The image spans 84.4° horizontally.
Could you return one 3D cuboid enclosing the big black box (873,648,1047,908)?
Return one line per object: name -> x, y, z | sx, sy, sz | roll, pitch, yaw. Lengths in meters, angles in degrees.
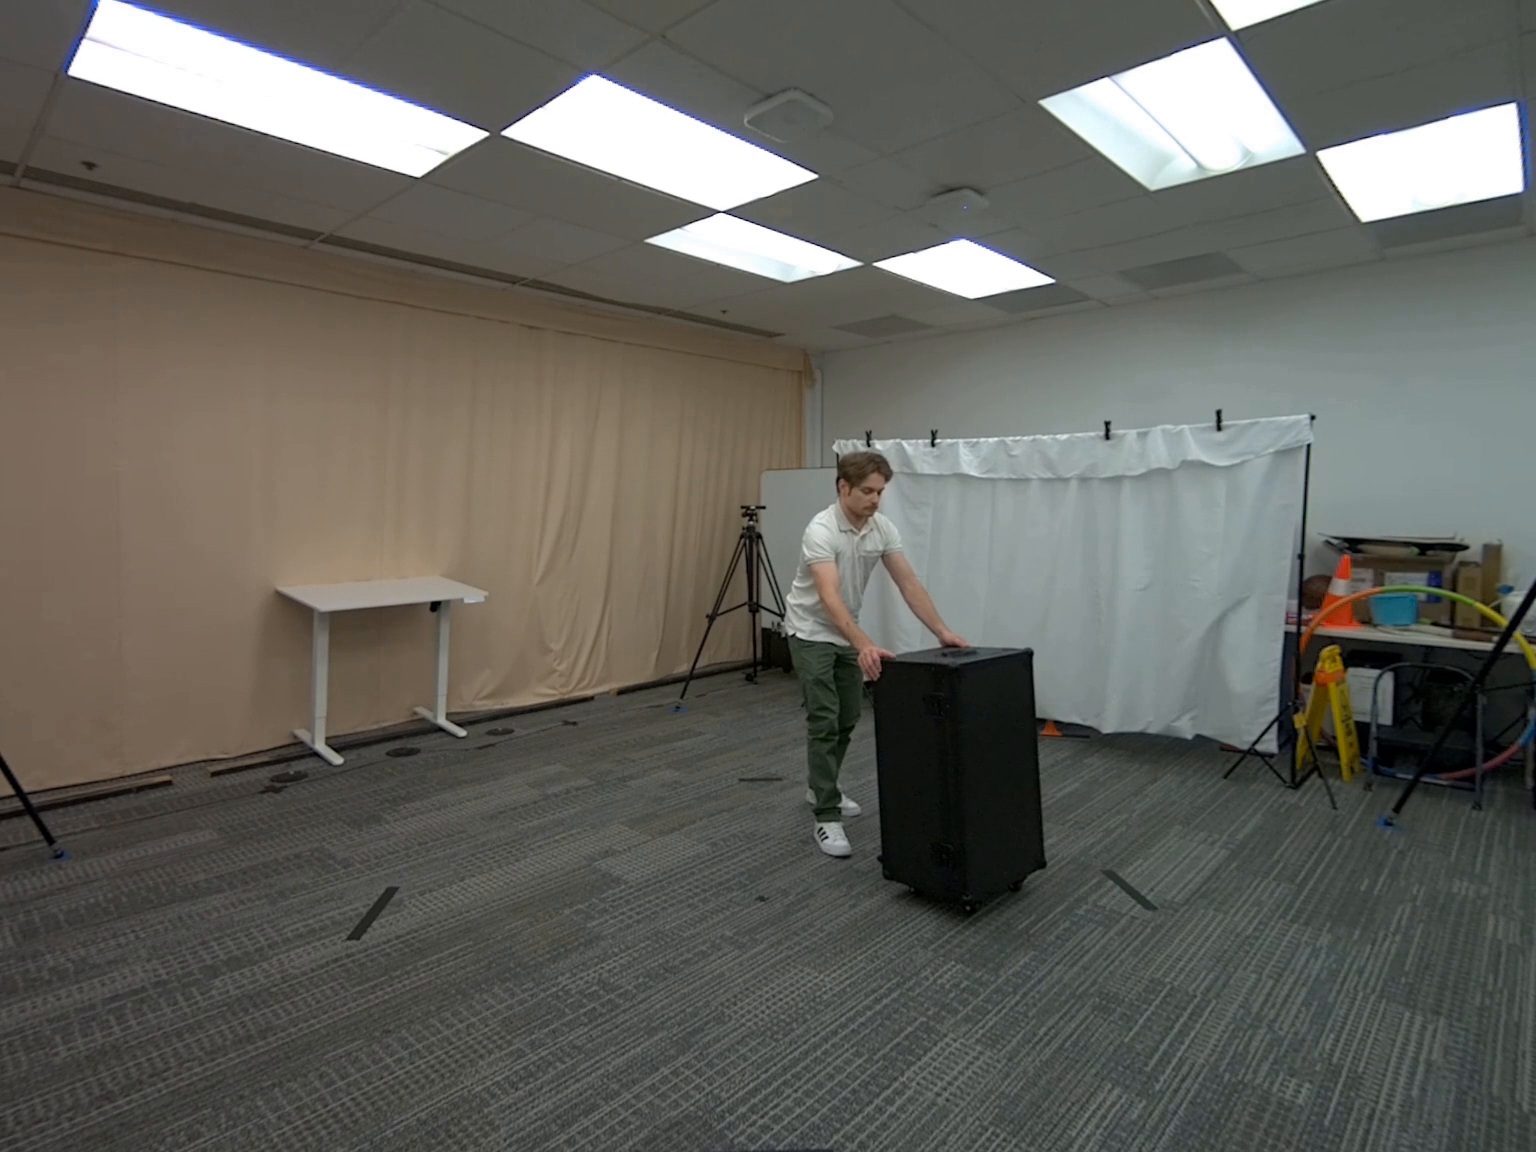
big black box -> 0.687, 0.709, 3.023 | 0.505, 0.862, 0.408 | -3, -1, -41
